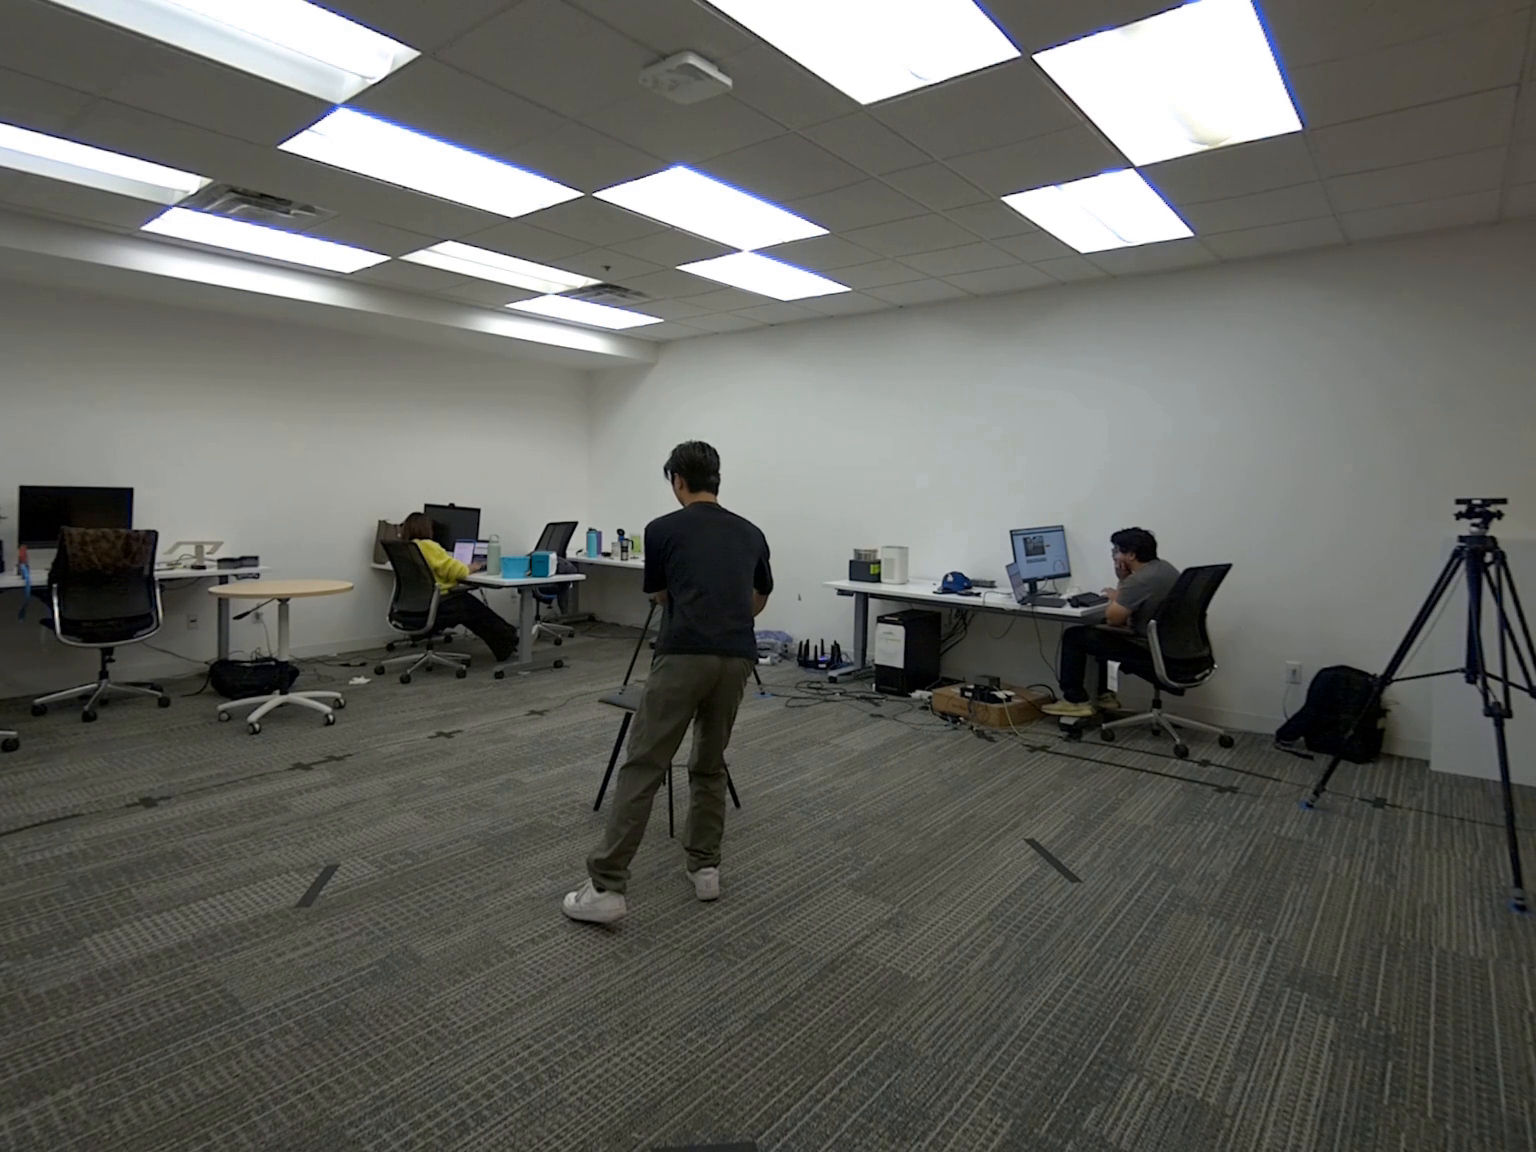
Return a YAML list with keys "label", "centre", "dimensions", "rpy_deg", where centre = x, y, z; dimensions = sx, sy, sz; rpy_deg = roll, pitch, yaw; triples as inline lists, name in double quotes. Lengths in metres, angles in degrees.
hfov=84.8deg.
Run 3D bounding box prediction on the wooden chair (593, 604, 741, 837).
- label: "wooden chair"
  centre: [-0.444, 0.580, 3.669]
  dimensions: [0.541, 0.873, 0.464]
  rpy_deg: [9, 8, 36]
